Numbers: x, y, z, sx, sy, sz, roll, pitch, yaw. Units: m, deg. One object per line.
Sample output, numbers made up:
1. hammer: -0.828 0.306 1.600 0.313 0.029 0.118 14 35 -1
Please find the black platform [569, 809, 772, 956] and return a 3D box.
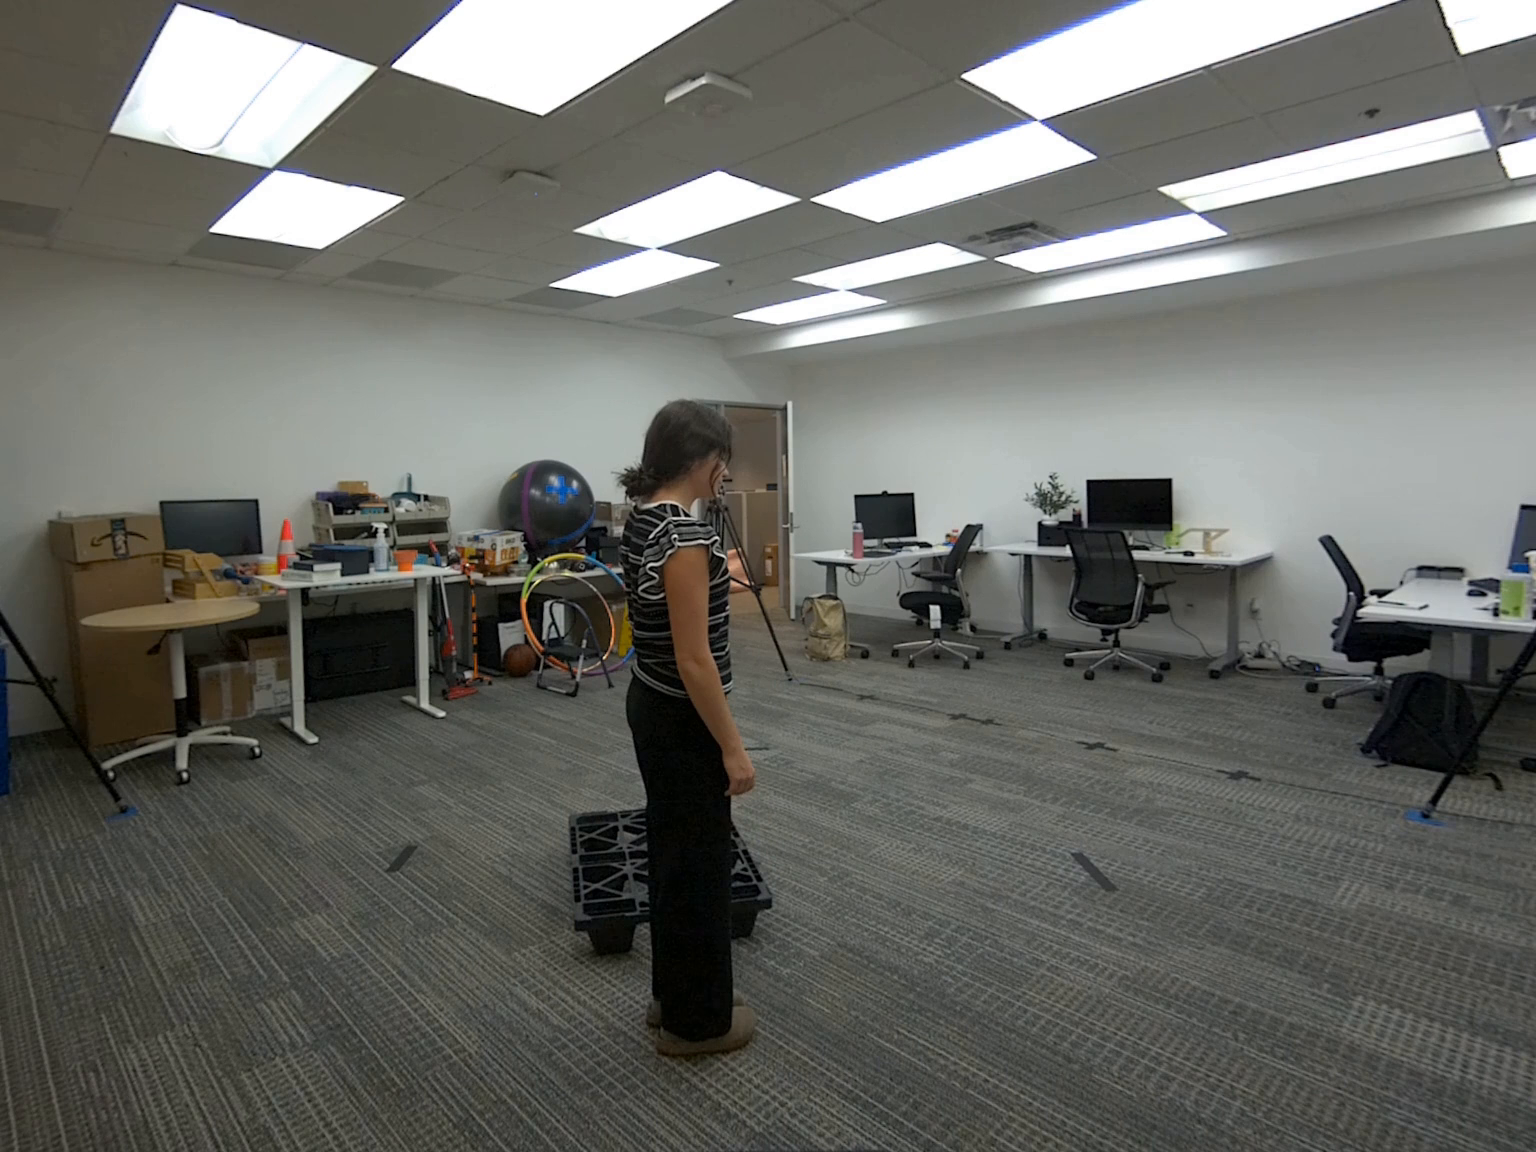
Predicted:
1. black platform: -0.370 1.006 2.916 0.598 0.142 0.819 -4 7 -13
